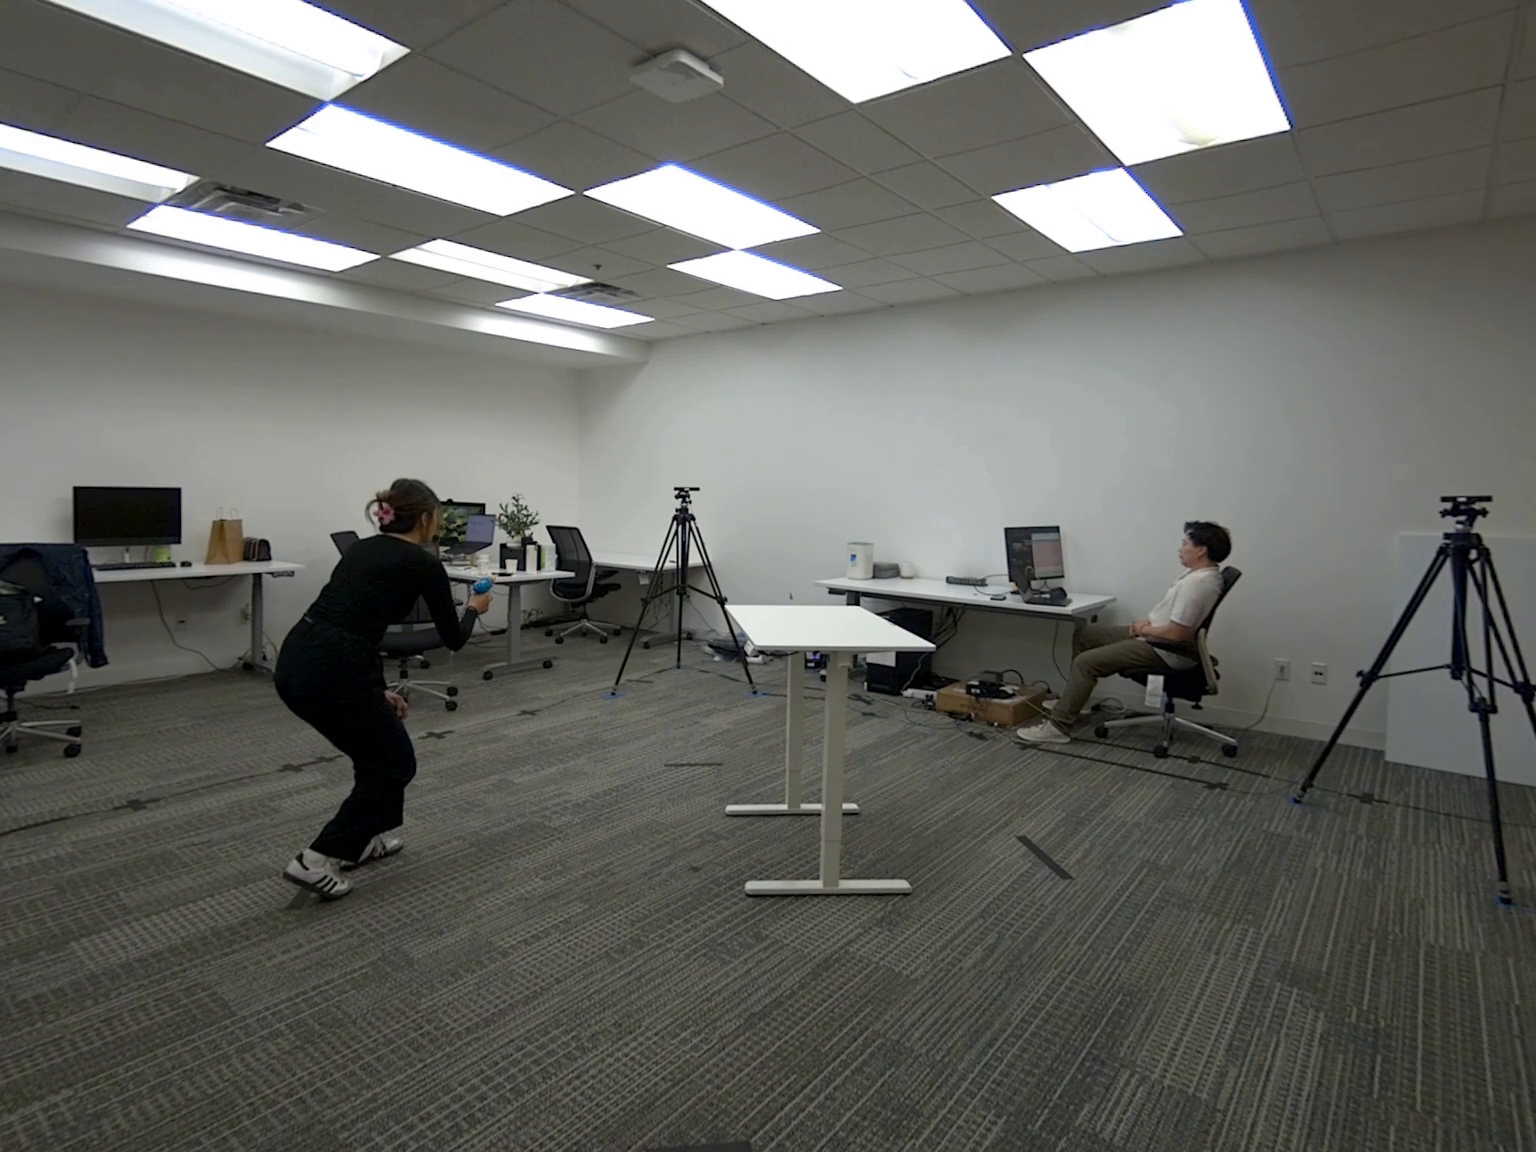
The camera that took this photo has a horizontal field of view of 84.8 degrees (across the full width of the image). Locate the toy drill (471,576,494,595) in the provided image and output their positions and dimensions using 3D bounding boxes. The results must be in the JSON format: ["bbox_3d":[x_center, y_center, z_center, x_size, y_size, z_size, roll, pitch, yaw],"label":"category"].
[{"bbox_3d":[-1.187,0.067,3.497,0.061,0.144,0.171,12,16,0],"label":"toy drill"}]
